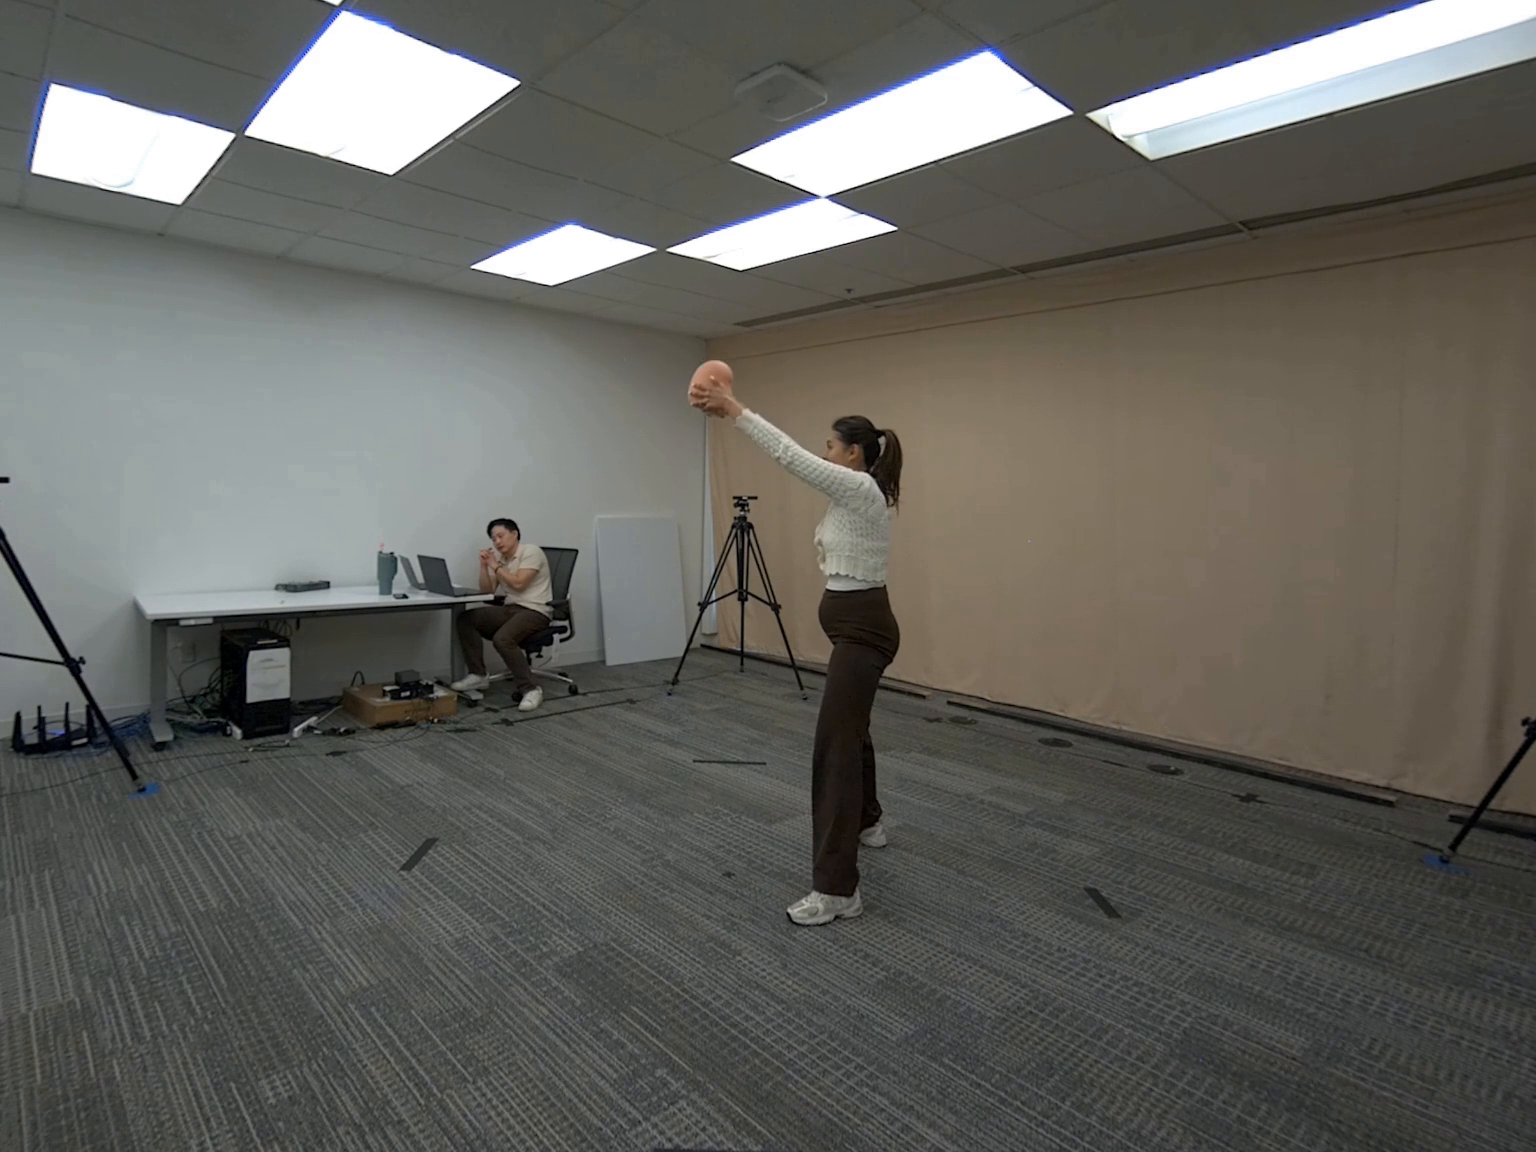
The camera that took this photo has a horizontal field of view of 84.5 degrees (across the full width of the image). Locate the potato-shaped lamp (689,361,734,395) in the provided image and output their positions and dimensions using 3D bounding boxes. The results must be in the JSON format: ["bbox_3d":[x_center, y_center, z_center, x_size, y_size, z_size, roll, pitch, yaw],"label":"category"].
[{"bbox_3d":[-0.208,-0.705,3.173,0.174,0.197,0.163,23,5,12],"label":"potato-shaped lamp"}]
